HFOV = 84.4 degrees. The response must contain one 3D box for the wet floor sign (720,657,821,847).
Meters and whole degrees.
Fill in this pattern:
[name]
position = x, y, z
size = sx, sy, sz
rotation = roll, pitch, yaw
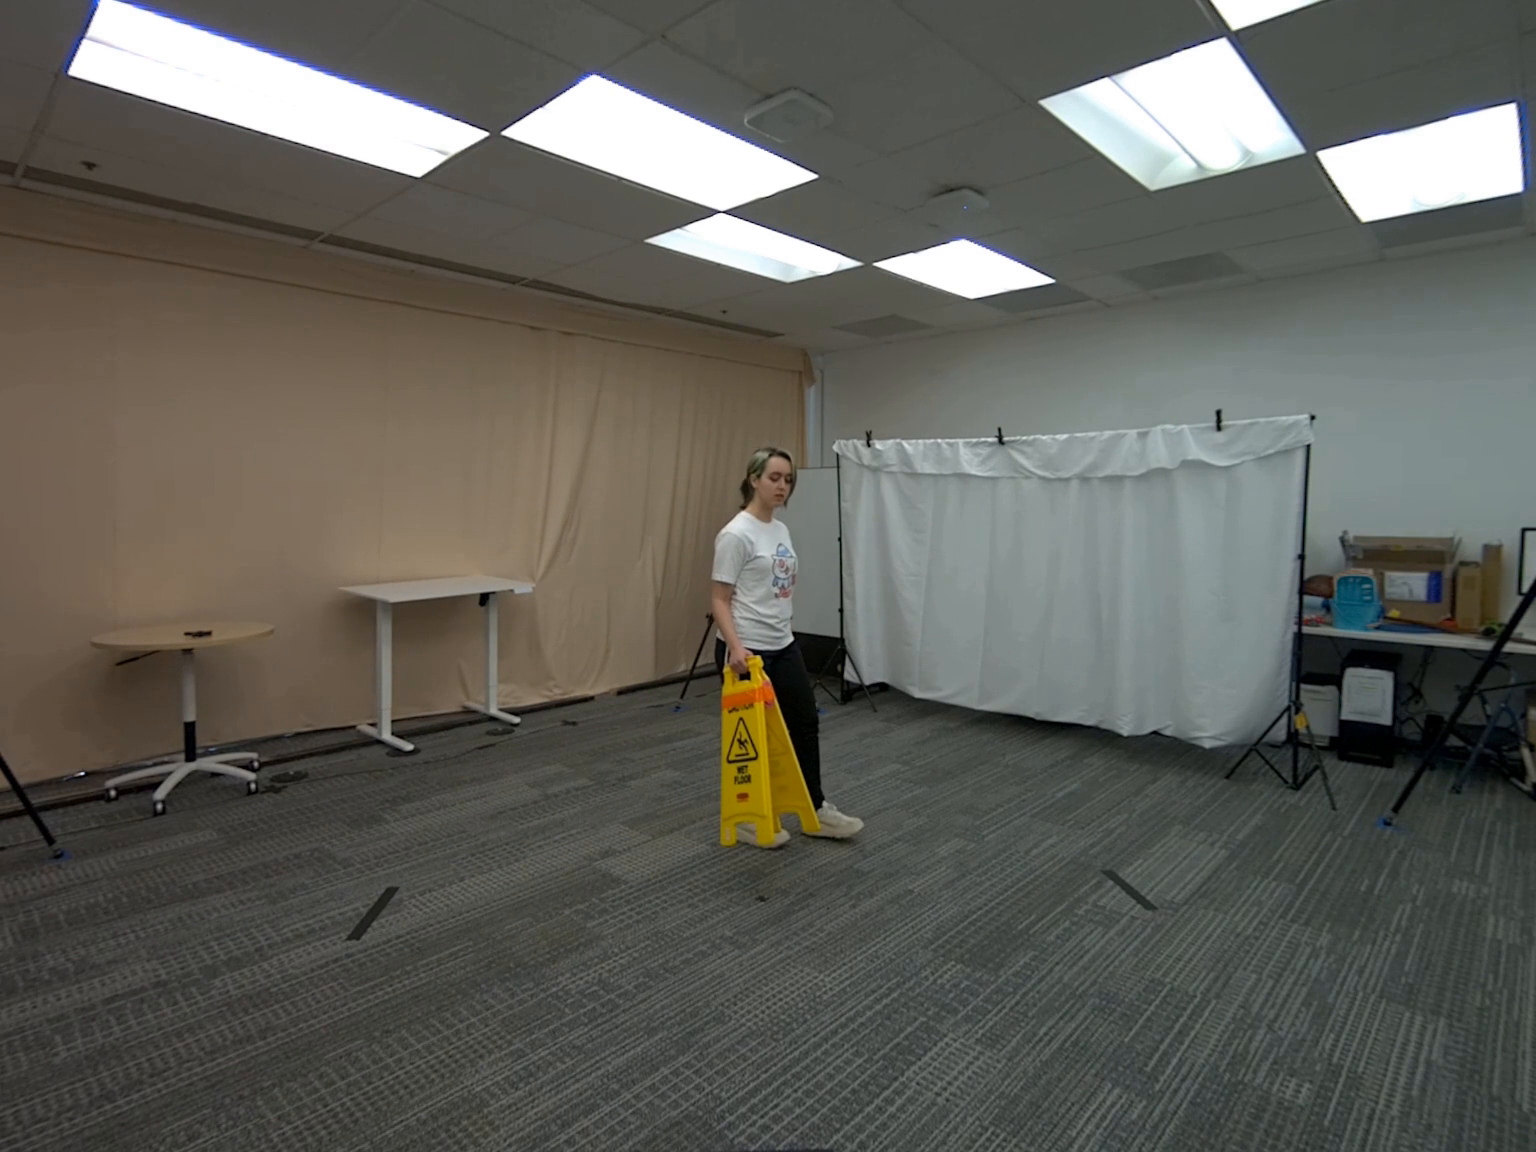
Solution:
[wet floor sign]
position = -0.040, 0.627, 3.112
size = 0.280, 0.653, 0.288
rotation = 1, -17, -42
